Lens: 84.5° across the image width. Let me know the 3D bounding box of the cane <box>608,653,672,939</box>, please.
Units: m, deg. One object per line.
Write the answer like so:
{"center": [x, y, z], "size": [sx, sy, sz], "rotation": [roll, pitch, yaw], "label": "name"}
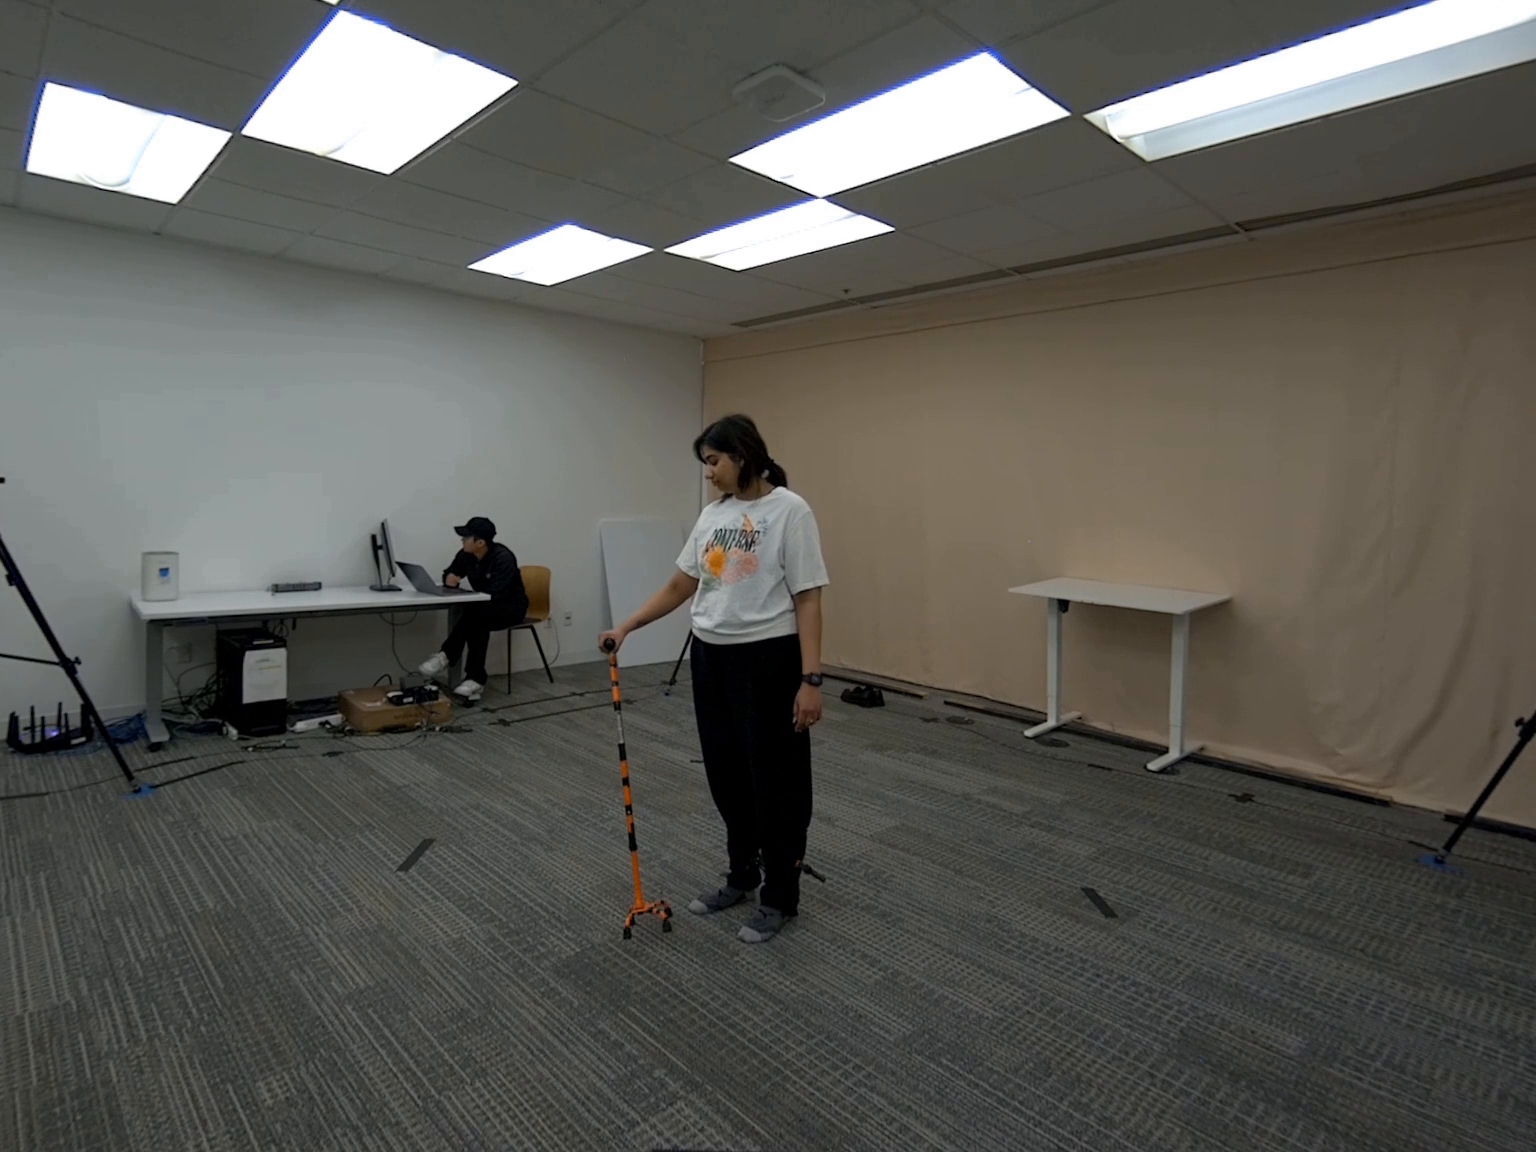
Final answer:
{"center": [-0.452, 0.668, 2.721], "size": [0.151, 0.915, 0.205], "rotation": [-8, -10, -7], "label": "cane"}
